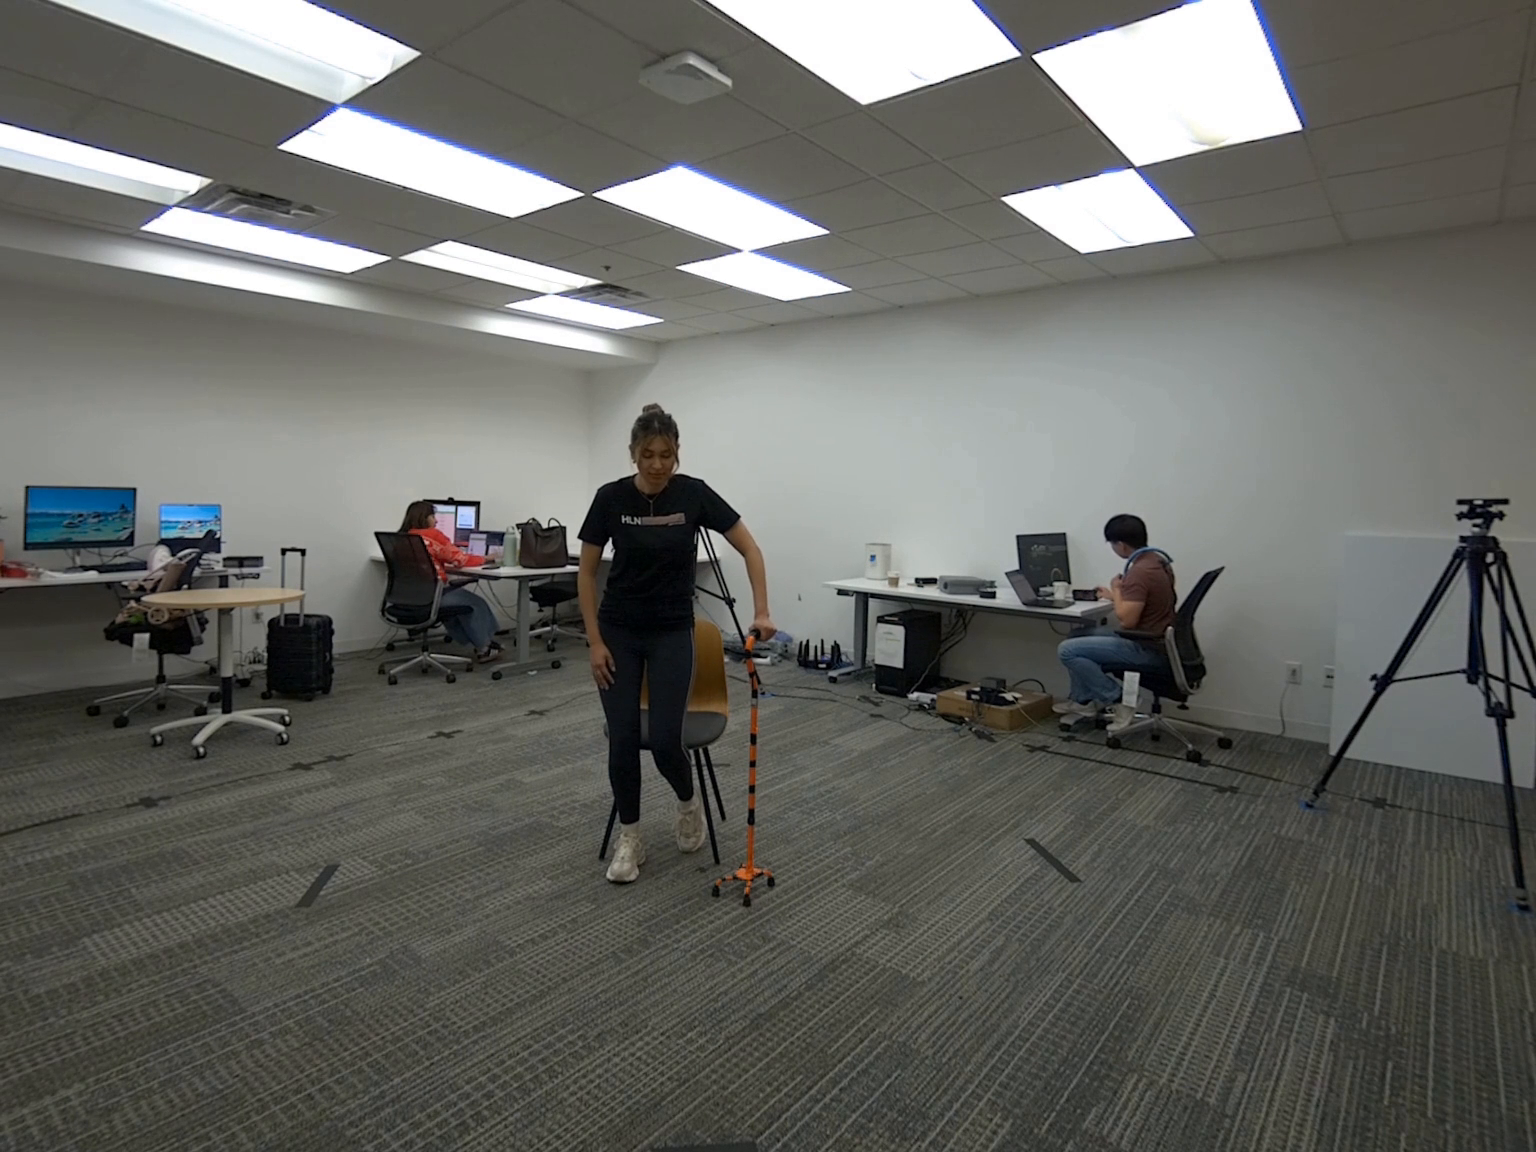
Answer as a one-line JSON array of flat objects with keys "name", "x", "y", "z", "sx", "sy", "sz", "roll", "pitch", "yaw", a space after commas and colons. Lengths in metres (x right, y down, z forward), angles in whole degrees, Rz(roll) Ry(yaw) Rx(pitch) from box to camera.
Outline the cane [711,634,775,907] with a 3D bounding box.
[{"name": "cane", "x": -0.075, "y": 0.639, "z": 2.935, "sx": 0.156, "sy": 0.906, "sz": 0.201, "roll": 3, "pitch": 2, "yaw": 30}]
